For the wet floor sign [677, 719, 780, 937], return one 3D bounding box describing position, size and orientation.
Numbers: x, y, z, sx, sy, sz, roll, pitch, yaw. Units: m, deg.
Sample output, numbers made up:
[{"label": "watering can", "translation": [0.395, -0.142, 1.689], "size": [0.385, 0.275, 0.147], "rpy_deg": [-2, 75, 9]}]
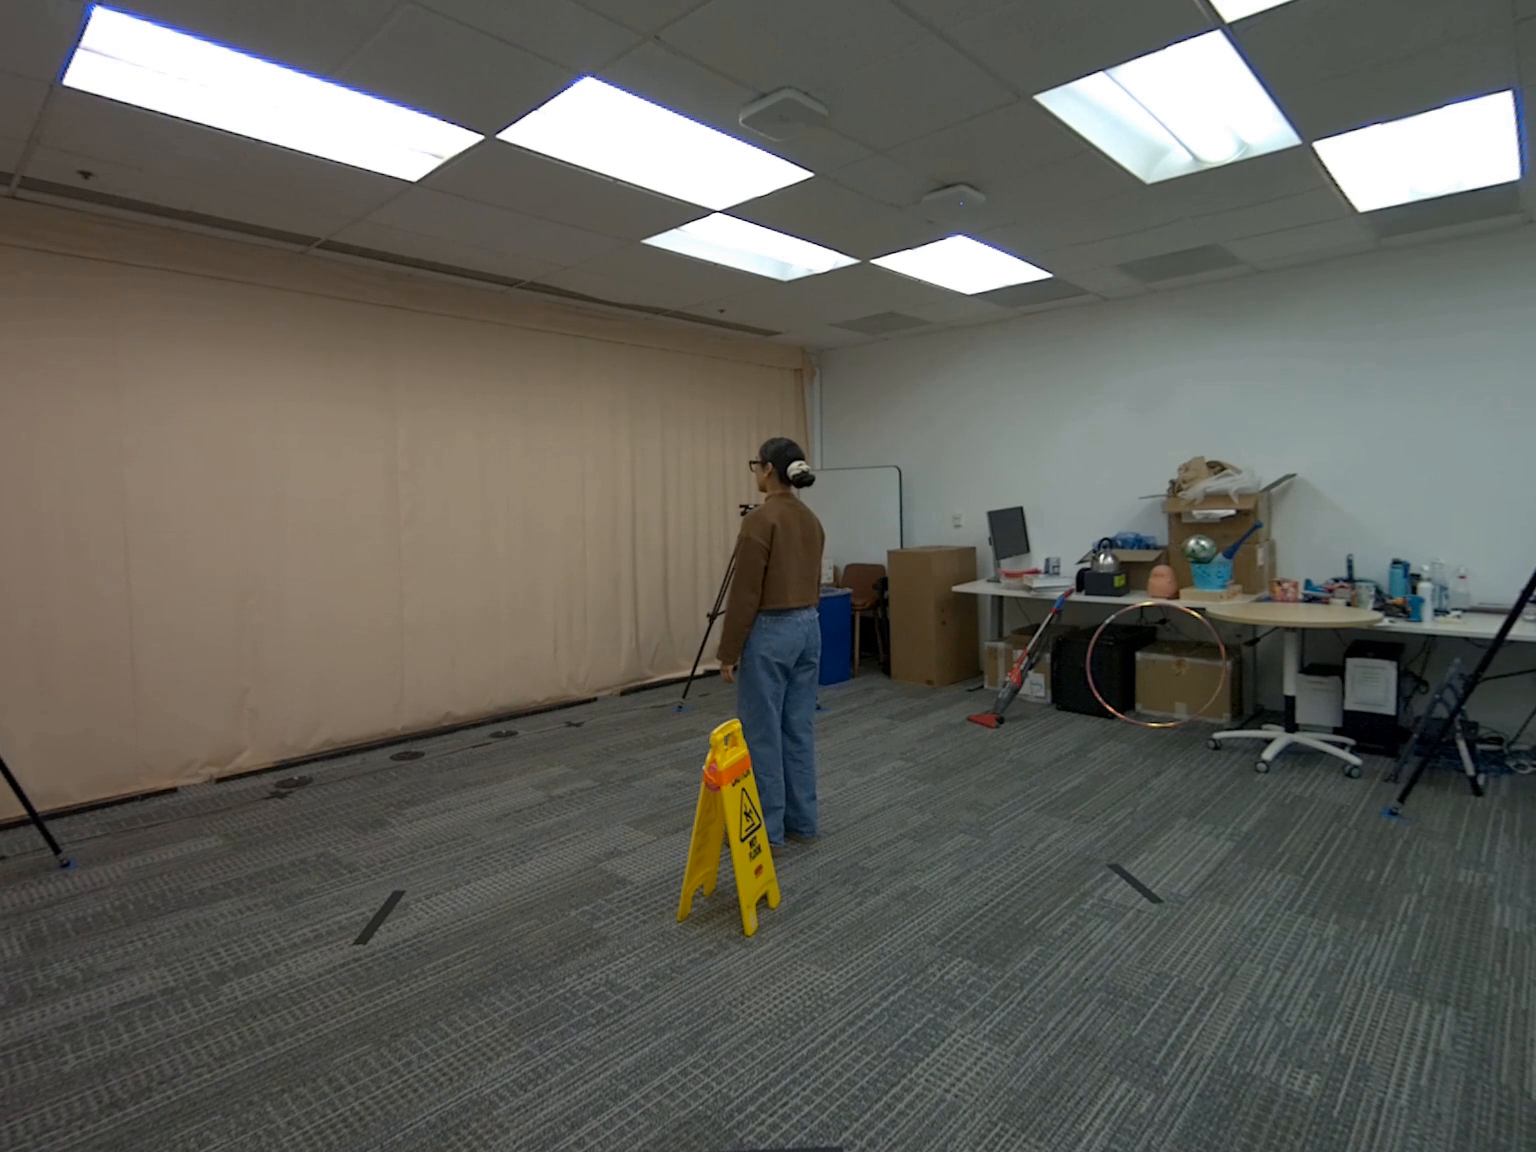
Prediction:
[{"label": "wet floor sign", "translation": [-0.140, 0.828, 2.870], "size": [0.297, 0.645, 0.276], "rpy_deg": [0, 3, 23]}]
